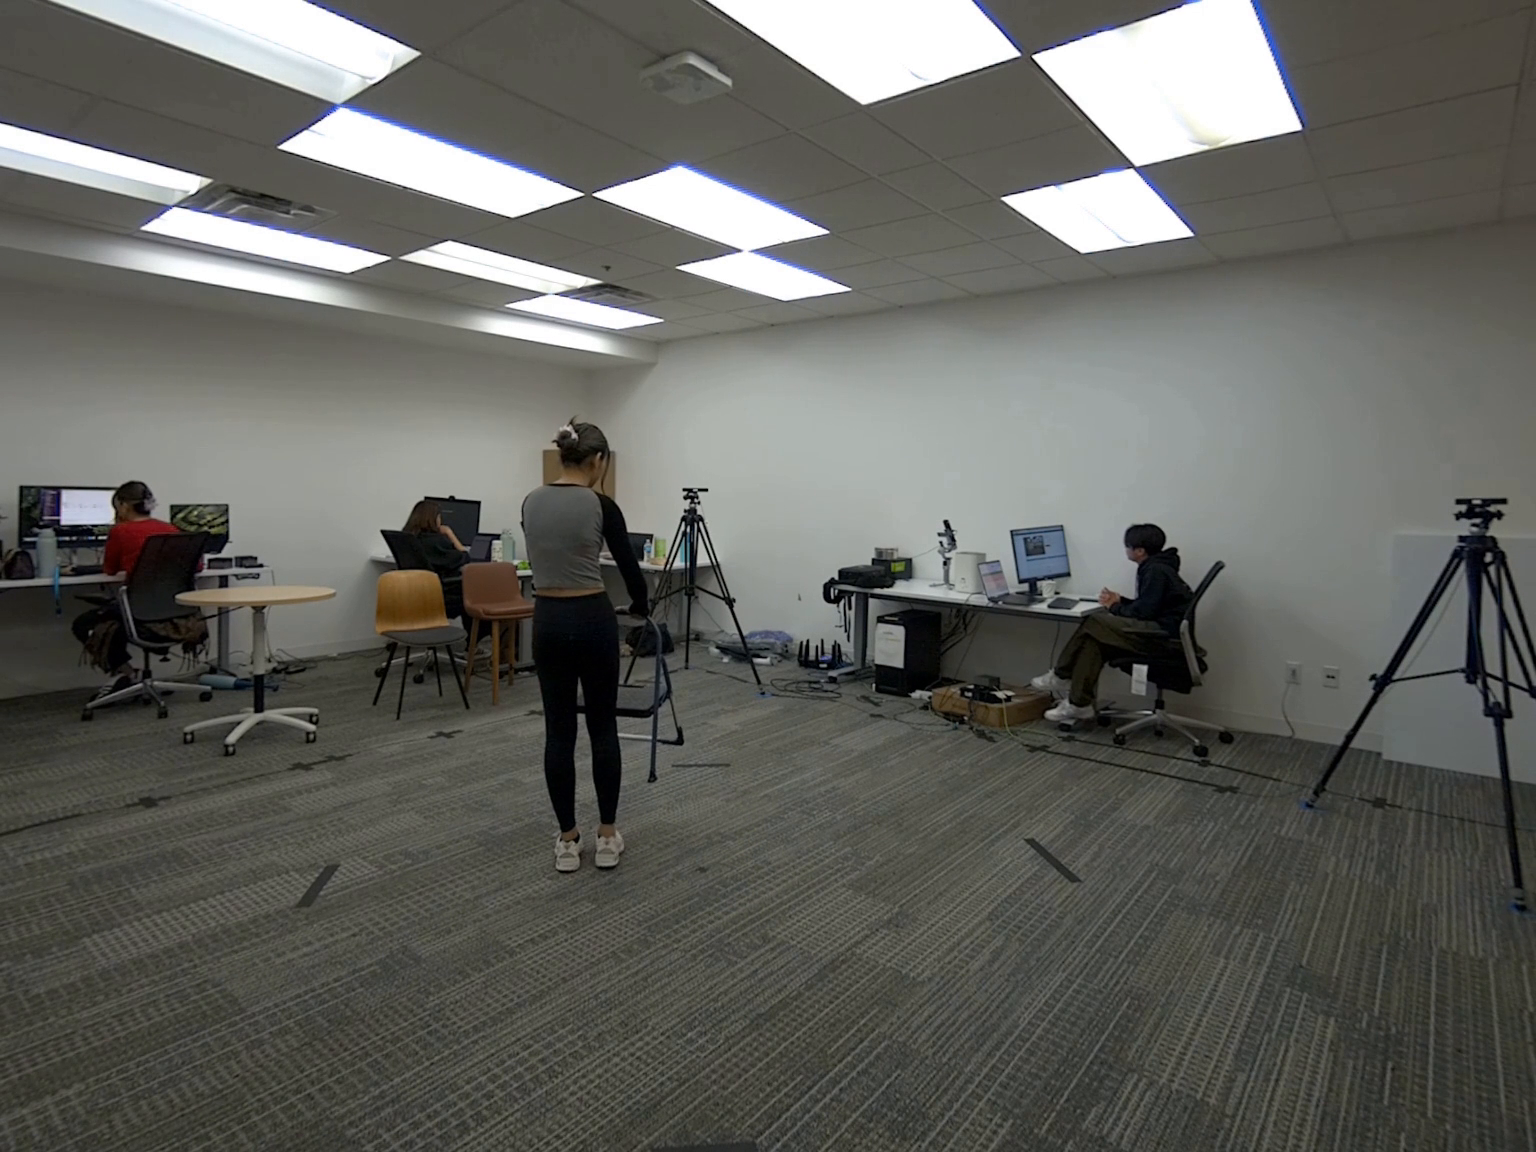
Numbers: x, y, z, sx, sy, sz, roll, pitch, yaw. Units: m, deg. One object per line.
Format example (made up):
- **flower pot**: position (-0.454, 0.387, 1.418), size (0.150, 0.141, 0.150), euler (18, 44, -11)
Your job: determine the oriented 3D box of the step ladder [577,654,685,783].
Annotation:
- **step ladder**: position (-0.617, 0.447, 3.423), size (0.439, 0.599, 0.346), euler (1, 12, 18)
